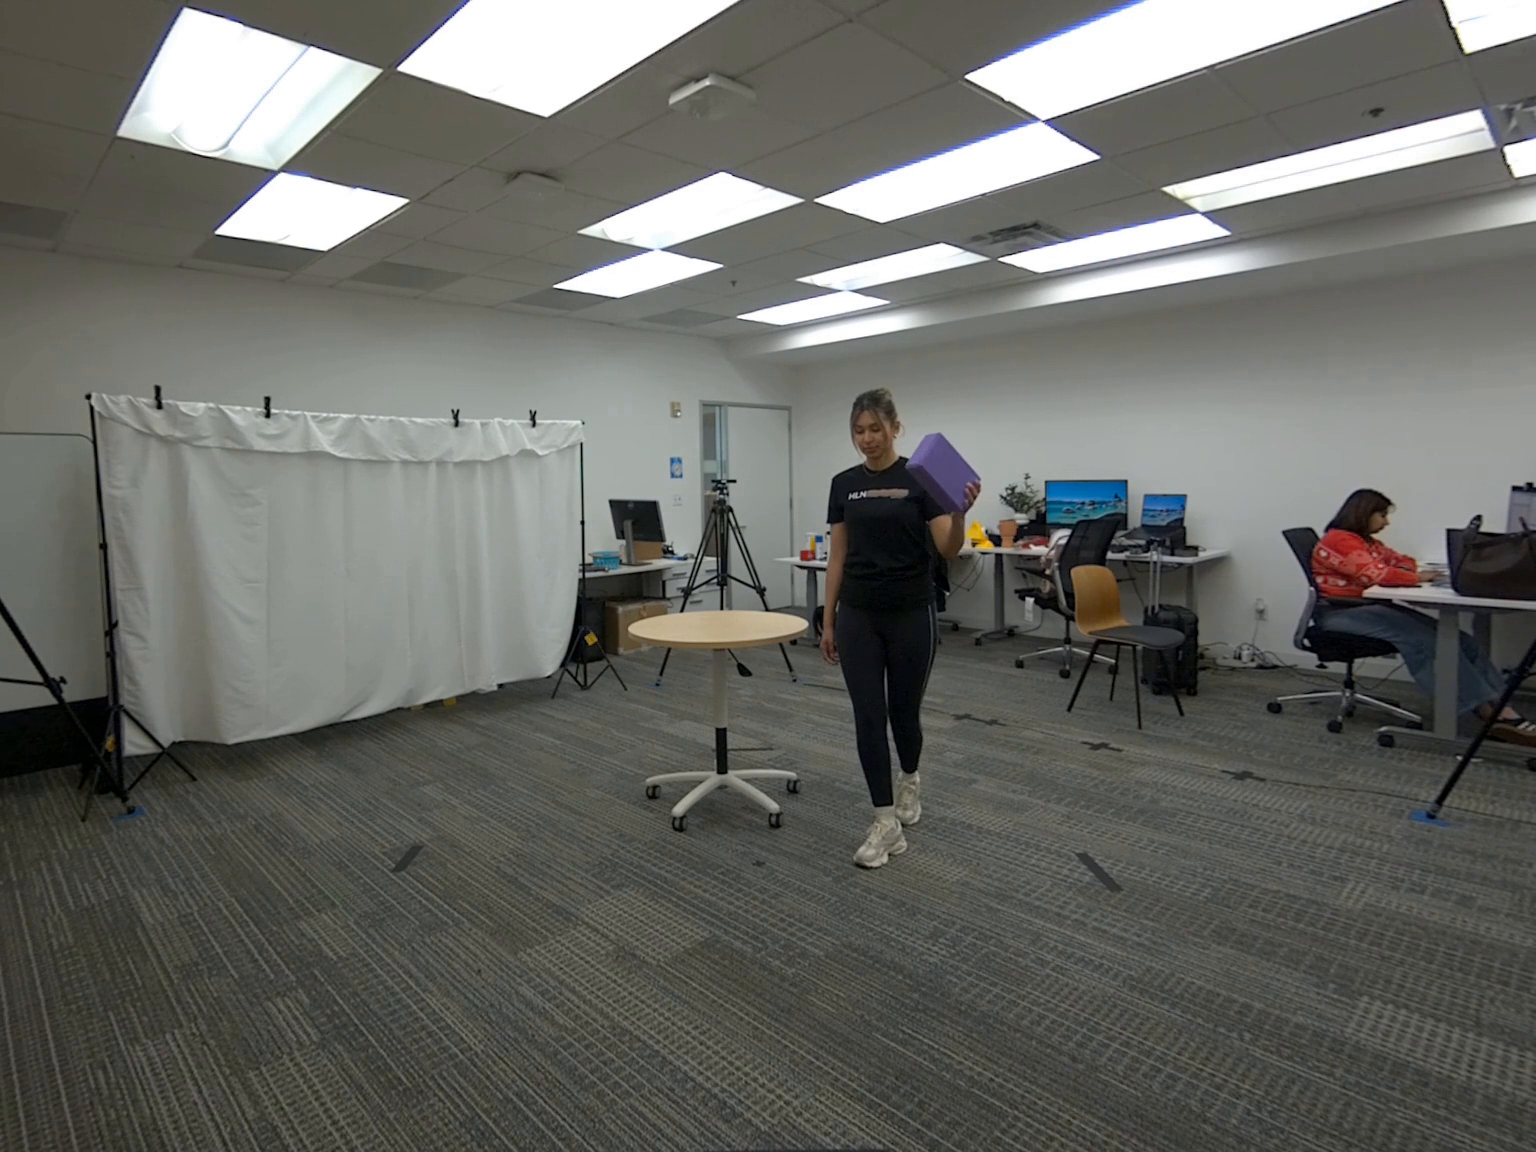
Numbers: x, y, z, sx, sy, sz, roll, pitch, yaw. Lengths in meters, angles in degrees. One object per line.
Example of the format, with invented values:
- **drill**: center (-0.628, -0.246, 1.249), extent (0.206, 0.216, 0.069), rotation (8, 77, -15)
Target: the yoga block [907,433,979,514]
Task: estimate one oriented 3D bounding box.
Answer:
- **yoga block**: center (0.551, -0.331, 2.745), extent (0.223, 0.149, 0.078), rotation (43, -20, -21)
